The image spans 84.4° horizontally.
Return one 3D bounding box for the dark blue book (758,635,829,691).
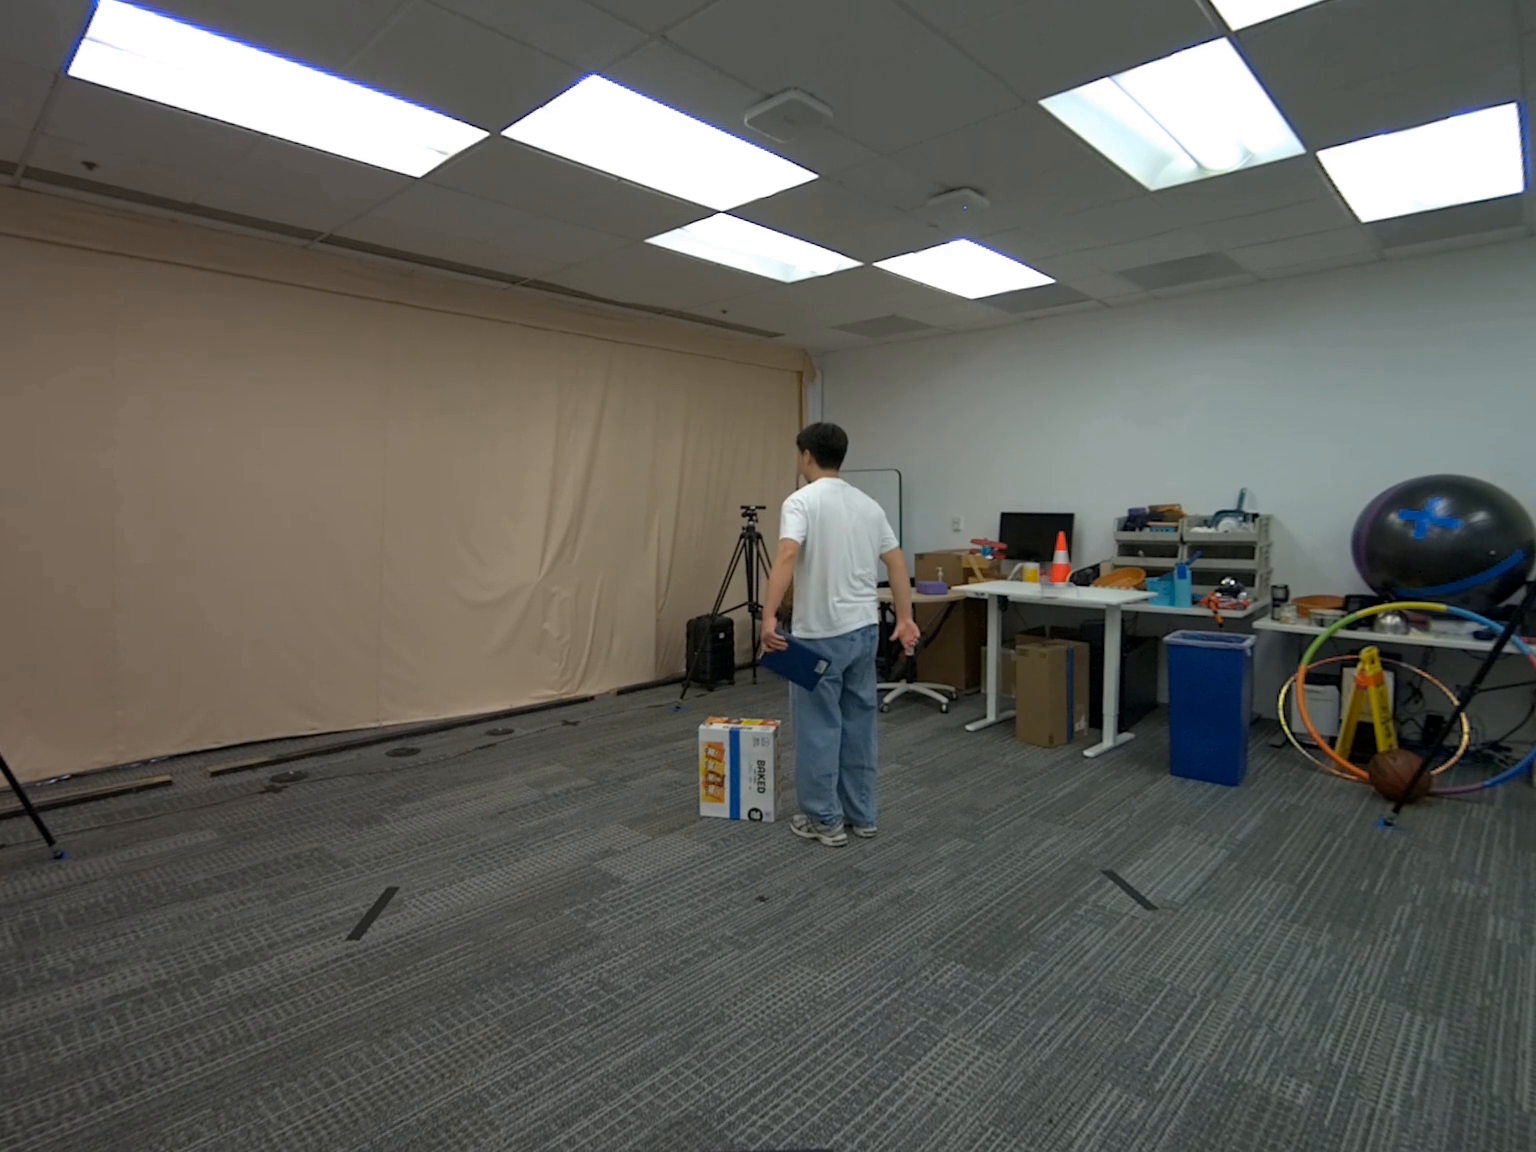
[{"bbox_3d":[0.111,0.321,3.259,0.243,0.163,0.045,28,20,-6],"label":"dark blue book"}]
